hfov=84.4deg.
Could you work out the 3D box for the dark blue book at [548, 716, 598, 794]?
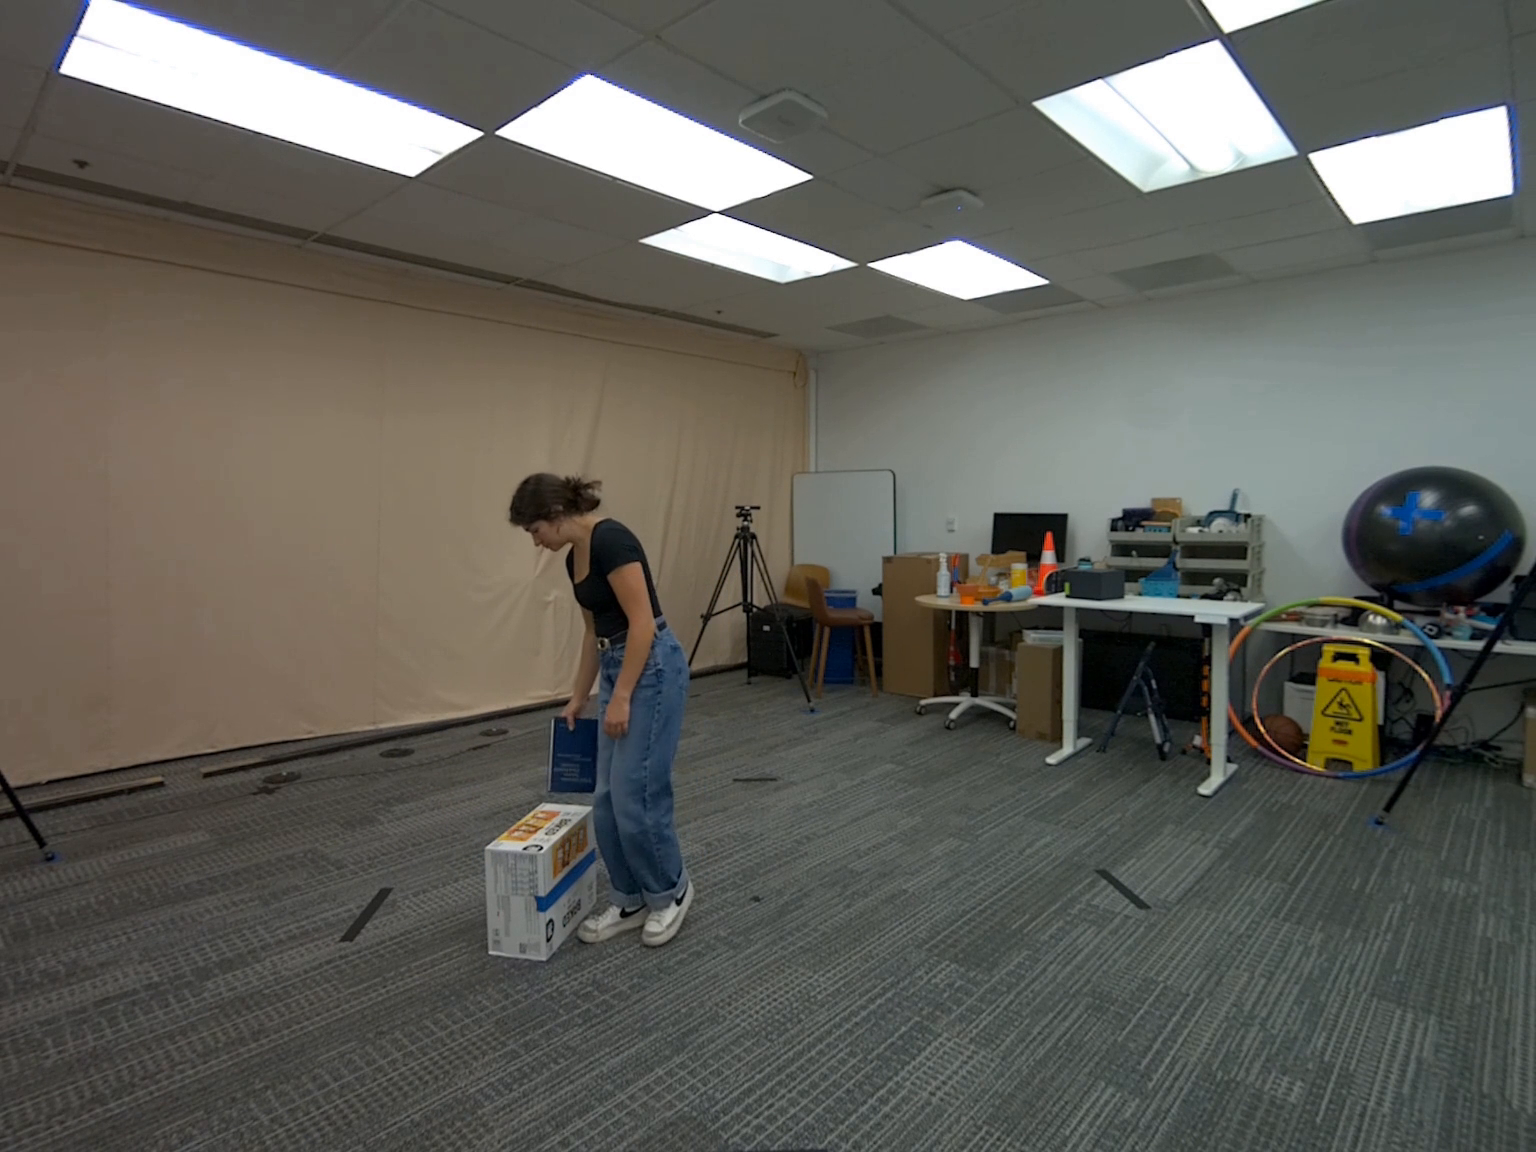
[{"bbox_3d":[-0.662,0.613,2.861,0.160,0.248,0.045,7,-21,-22],"label":"dark blue book"}]
